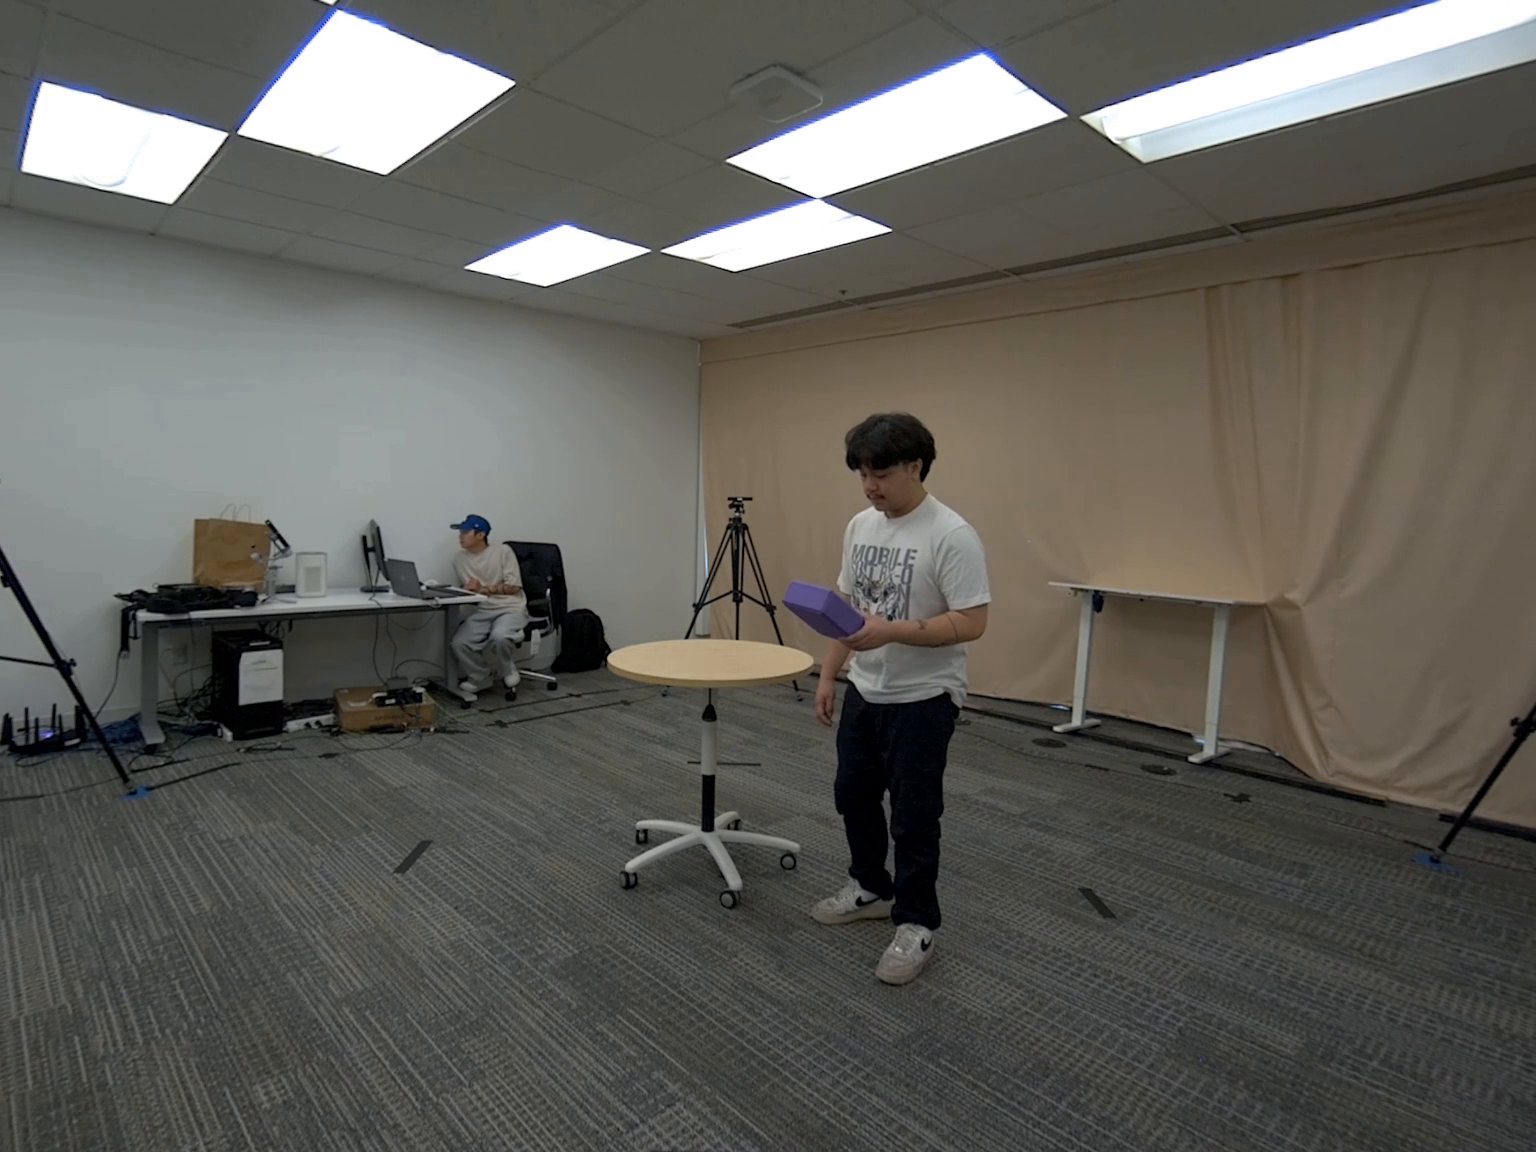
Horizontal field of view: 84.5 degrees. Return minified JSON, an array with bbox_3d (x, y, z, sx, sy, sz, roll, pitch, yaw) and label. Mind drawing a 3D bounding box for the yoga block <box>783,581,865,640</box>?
[{"bbox_3d":[0.158,0.100,2.324,0.153,0.077,0.222,14,-17,43],"label":"yoga block"}]
